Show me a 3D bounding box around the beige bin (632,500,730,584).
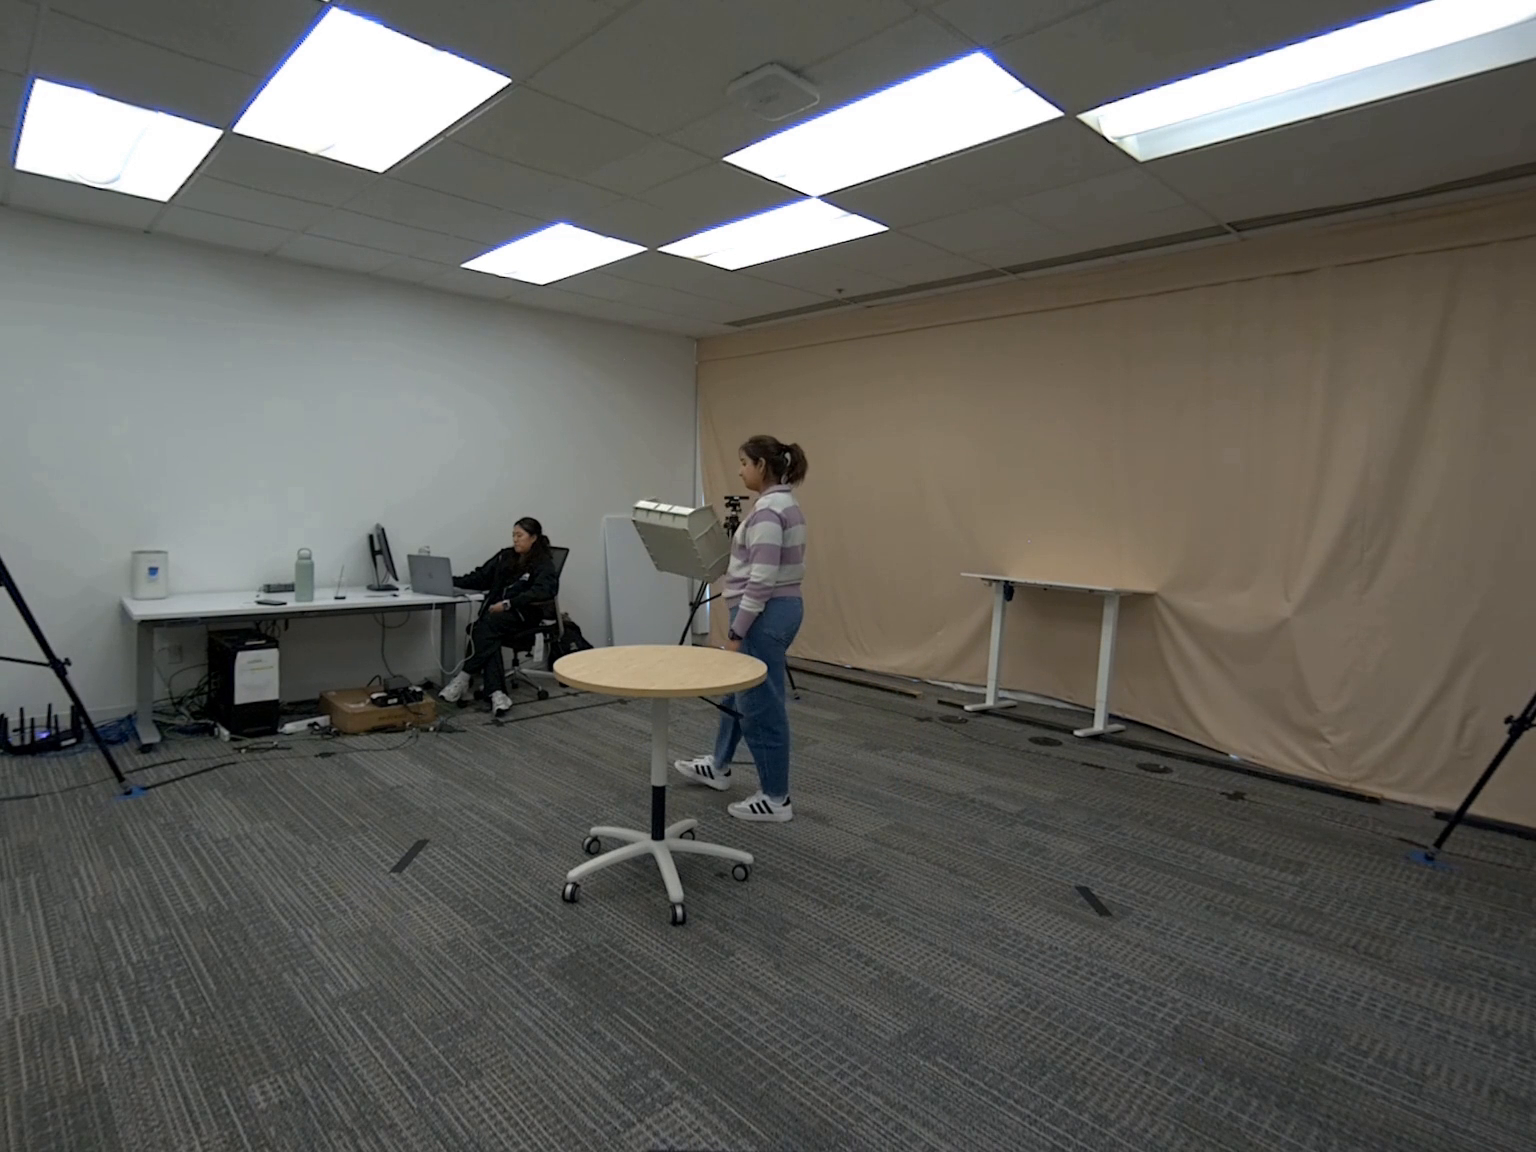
[{"bbox_3d":[-0.404,-0.181,3.904,0.434,0.368,0.188,12,44,44],"label":"beige bin"}]
